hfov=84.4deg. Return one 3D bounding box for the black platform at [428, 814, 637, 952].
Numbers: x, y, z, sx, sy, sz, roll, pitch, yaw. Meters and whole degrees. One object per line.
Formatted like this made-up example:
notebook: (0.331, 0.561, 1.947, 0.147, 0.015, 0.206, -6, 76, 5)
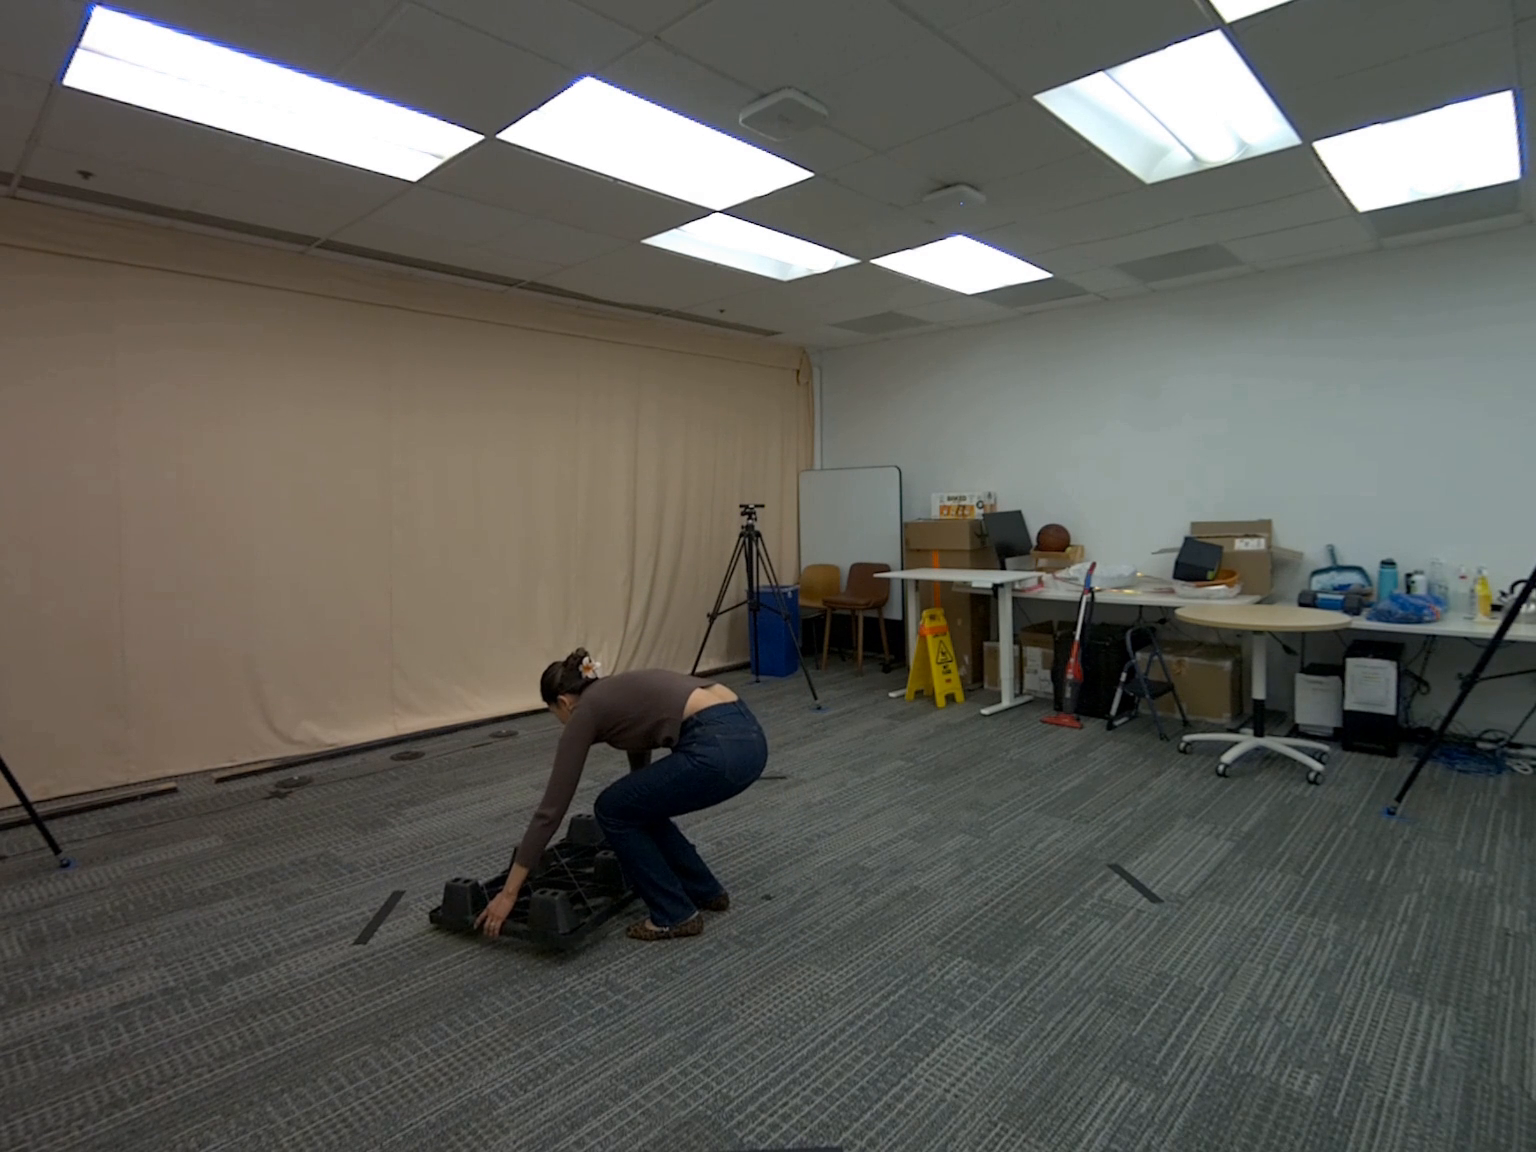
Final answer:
black platform: (-0.713, 1.052, 3.018, 0.620, 0.143, 0.786, -3, 2, 25)
